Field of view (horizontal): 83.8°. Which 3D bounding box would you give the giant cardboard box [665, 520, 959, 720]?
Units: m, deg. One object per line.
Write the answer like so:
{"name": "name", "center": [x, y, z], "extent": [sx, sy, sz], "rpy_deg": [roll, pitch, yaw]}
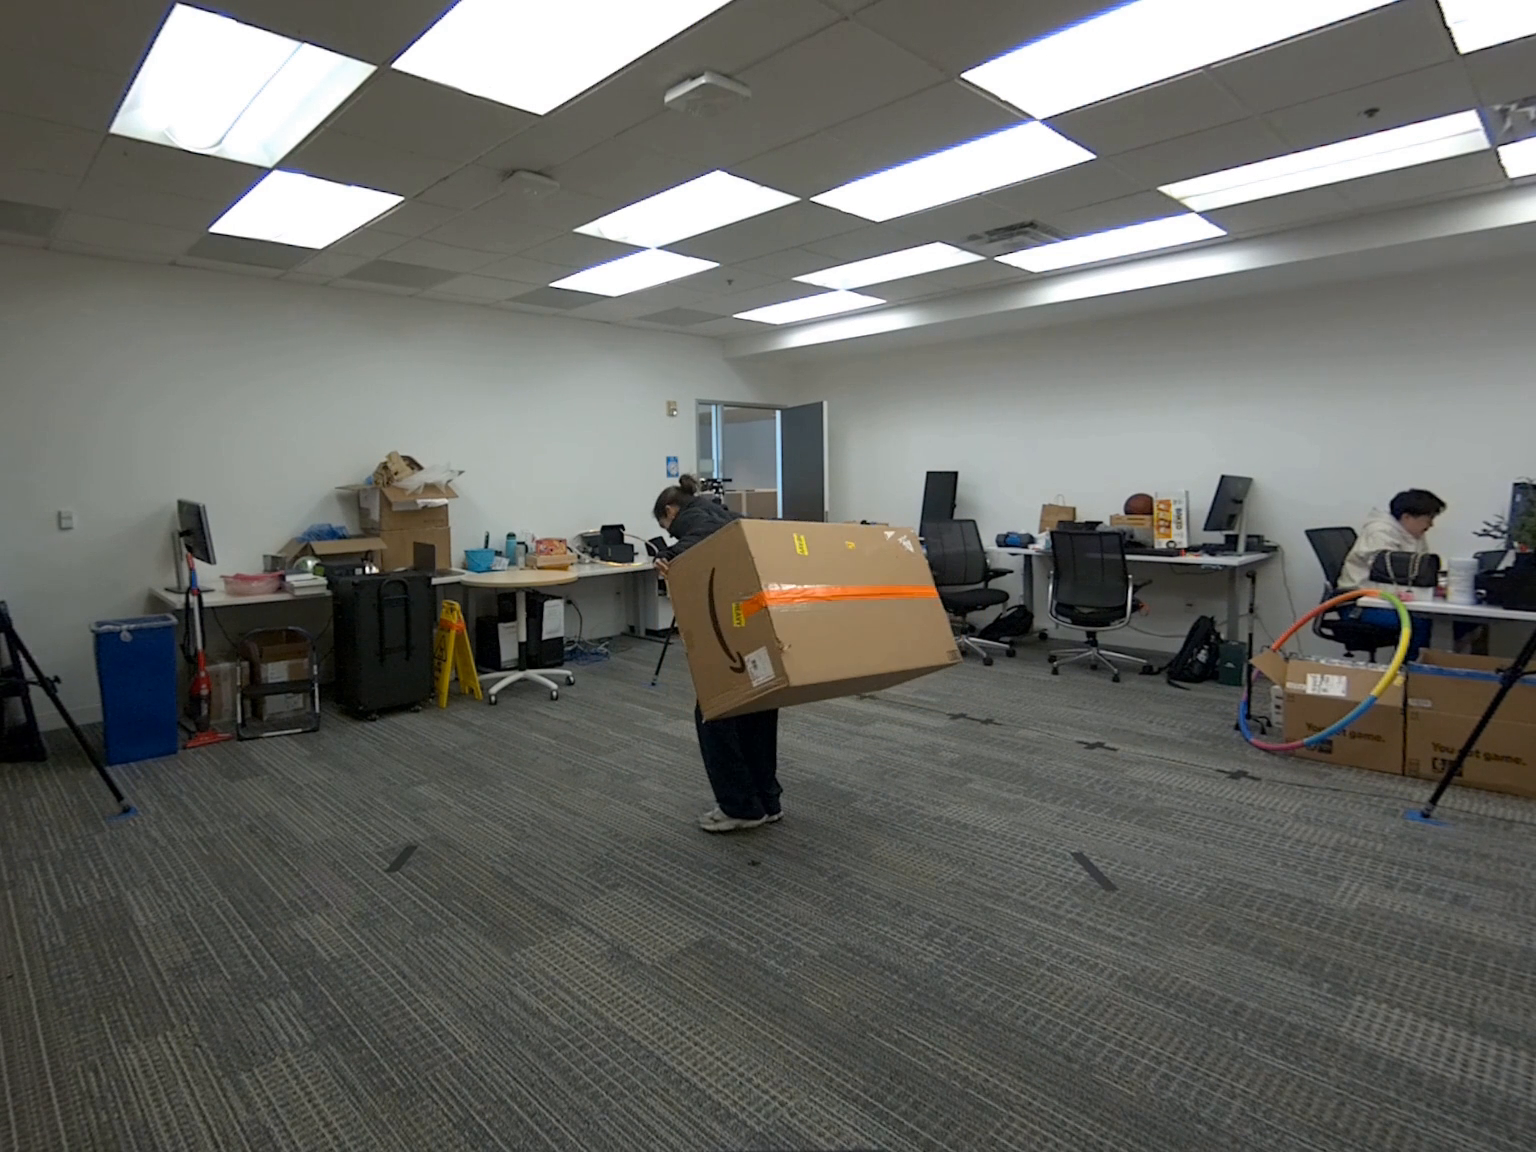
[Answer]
{"name": "giant cardboard box", "center": [0.181, 0.151, 3.216], "extent": [0.996, 0.589, 0.430], "rpy_deg": [0, -23, -45]}
